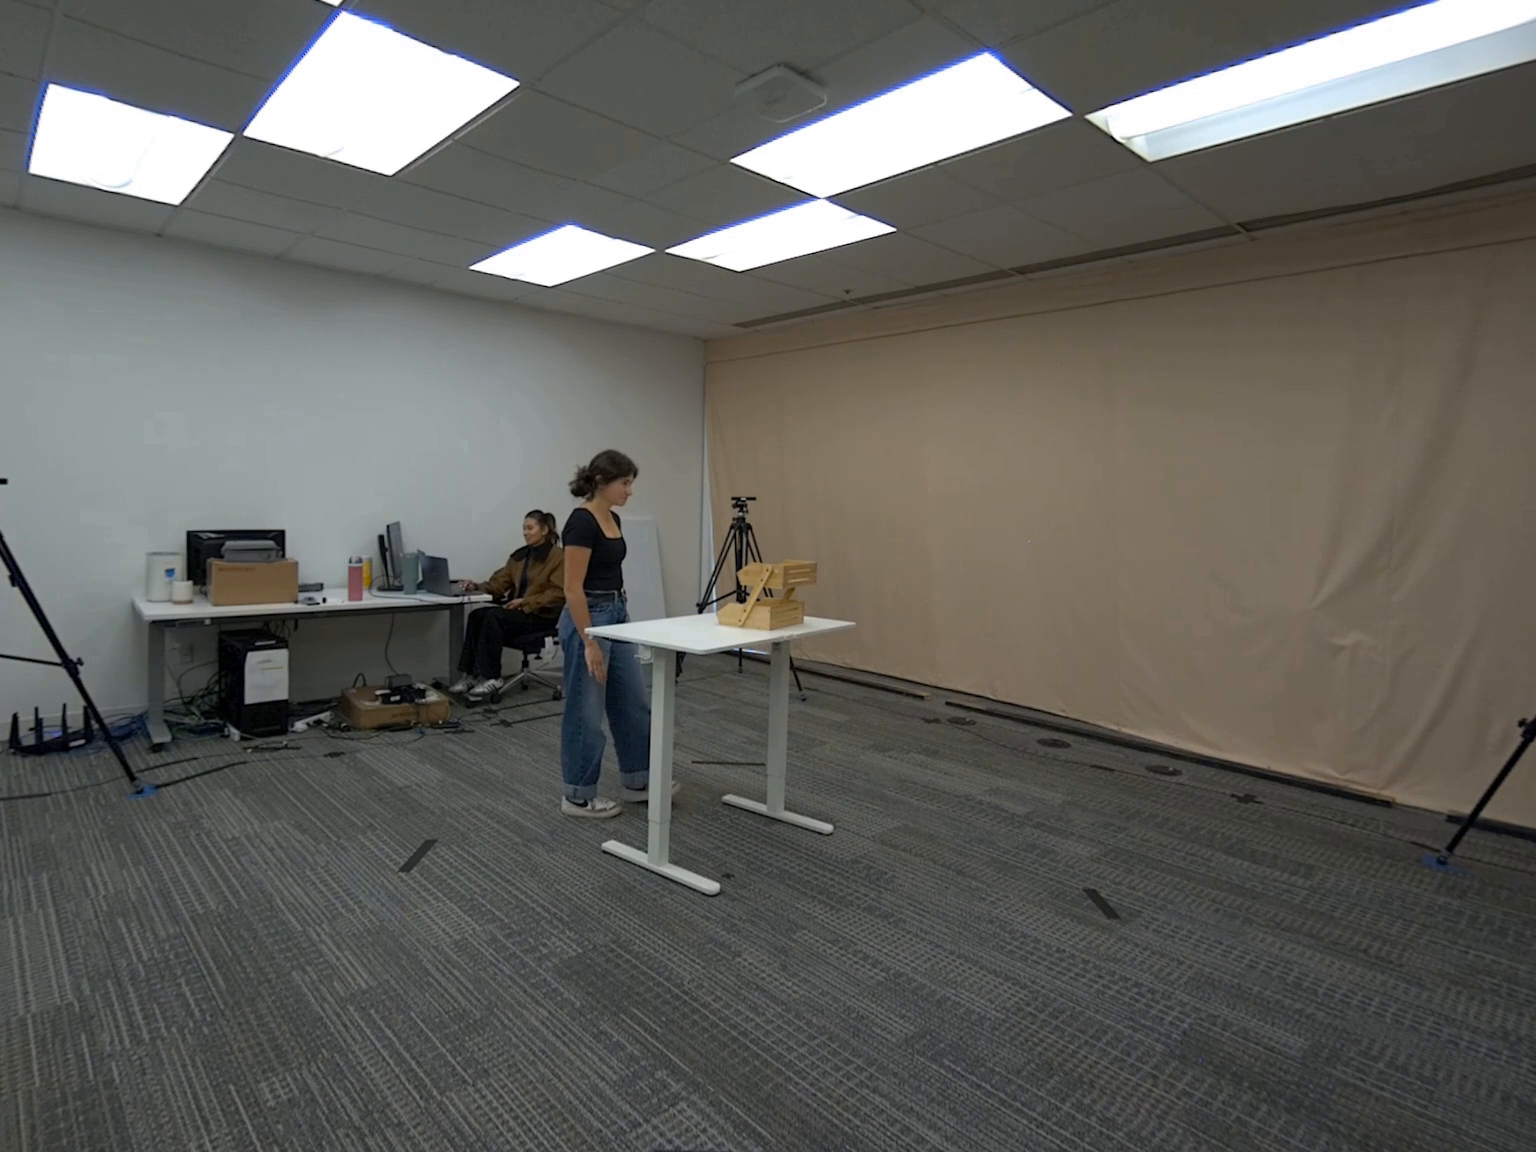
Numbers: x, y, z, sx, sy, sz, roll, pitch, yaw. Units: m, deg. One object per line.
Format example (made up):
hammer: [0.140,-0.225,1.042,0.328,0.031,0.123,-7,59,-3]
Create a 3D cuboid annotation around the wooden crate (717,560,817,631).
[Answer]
wooden crate: [-0.013,0.065,3.455,0.308,0.272,0.318,5,5,29]
